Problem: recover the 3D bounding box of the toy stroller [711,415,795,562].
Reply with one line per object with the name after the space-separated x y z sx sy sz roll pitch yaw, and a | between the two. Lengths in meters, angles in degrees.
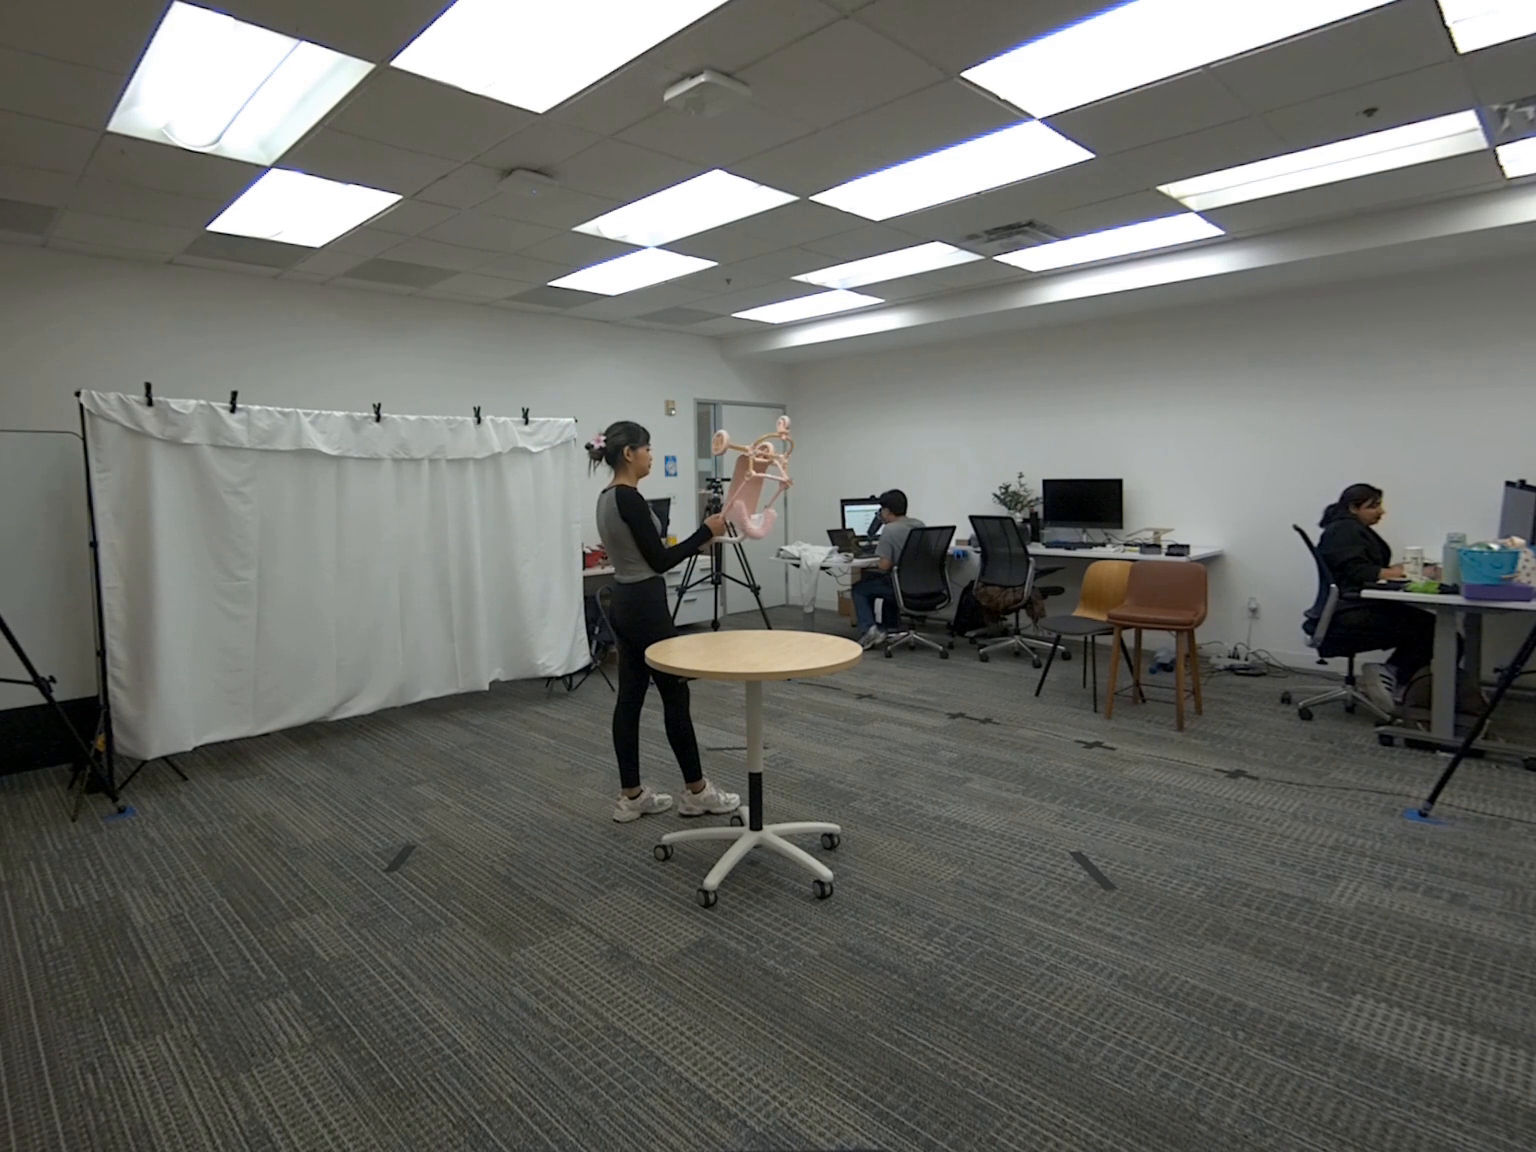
-0.051 -0.384 3.549 0.351 0.538 0.272 1 -9 45 | toy stroller
